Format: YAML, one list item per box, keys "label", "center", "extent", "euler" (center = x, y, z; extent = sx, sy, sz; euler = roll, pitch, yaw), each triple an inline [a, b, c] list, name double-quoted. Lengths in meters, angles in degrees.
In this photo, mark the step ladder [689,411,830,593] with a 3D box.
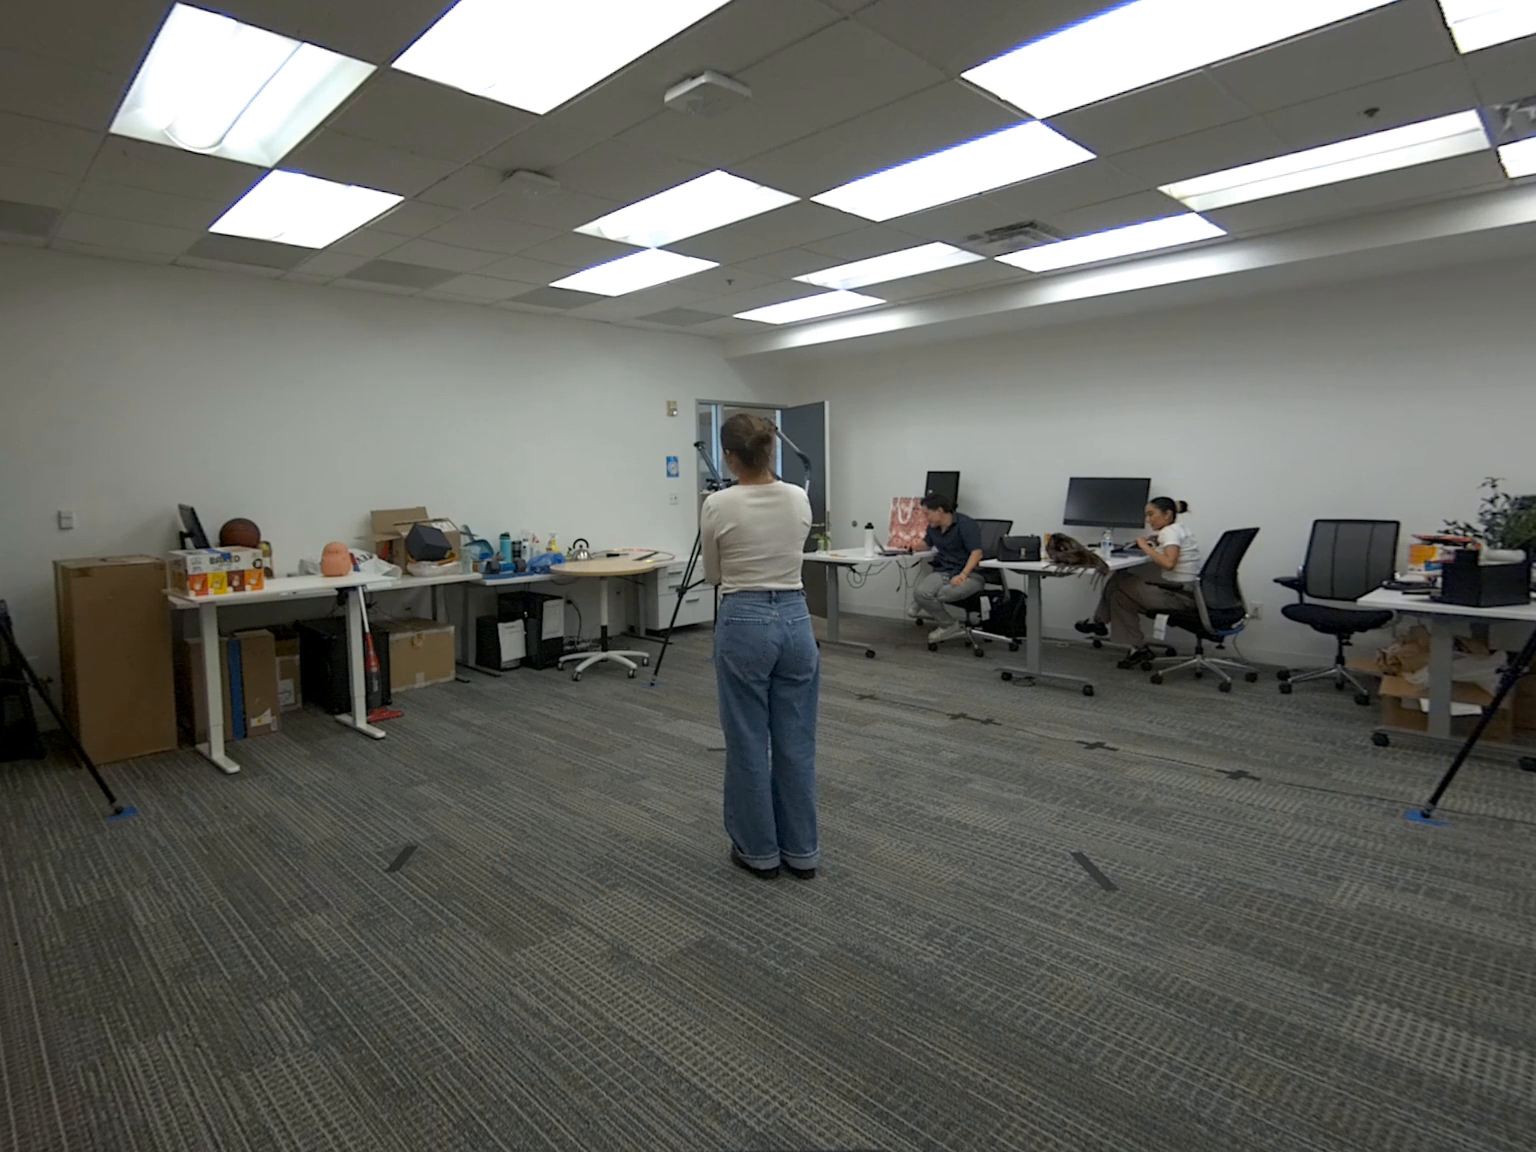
- label: "step ladder"
  center: [-0.042, -0.262, 3.504]
  extent: [0.354, 0.621, 0.414]
  euler: [-20, -31, 25]
